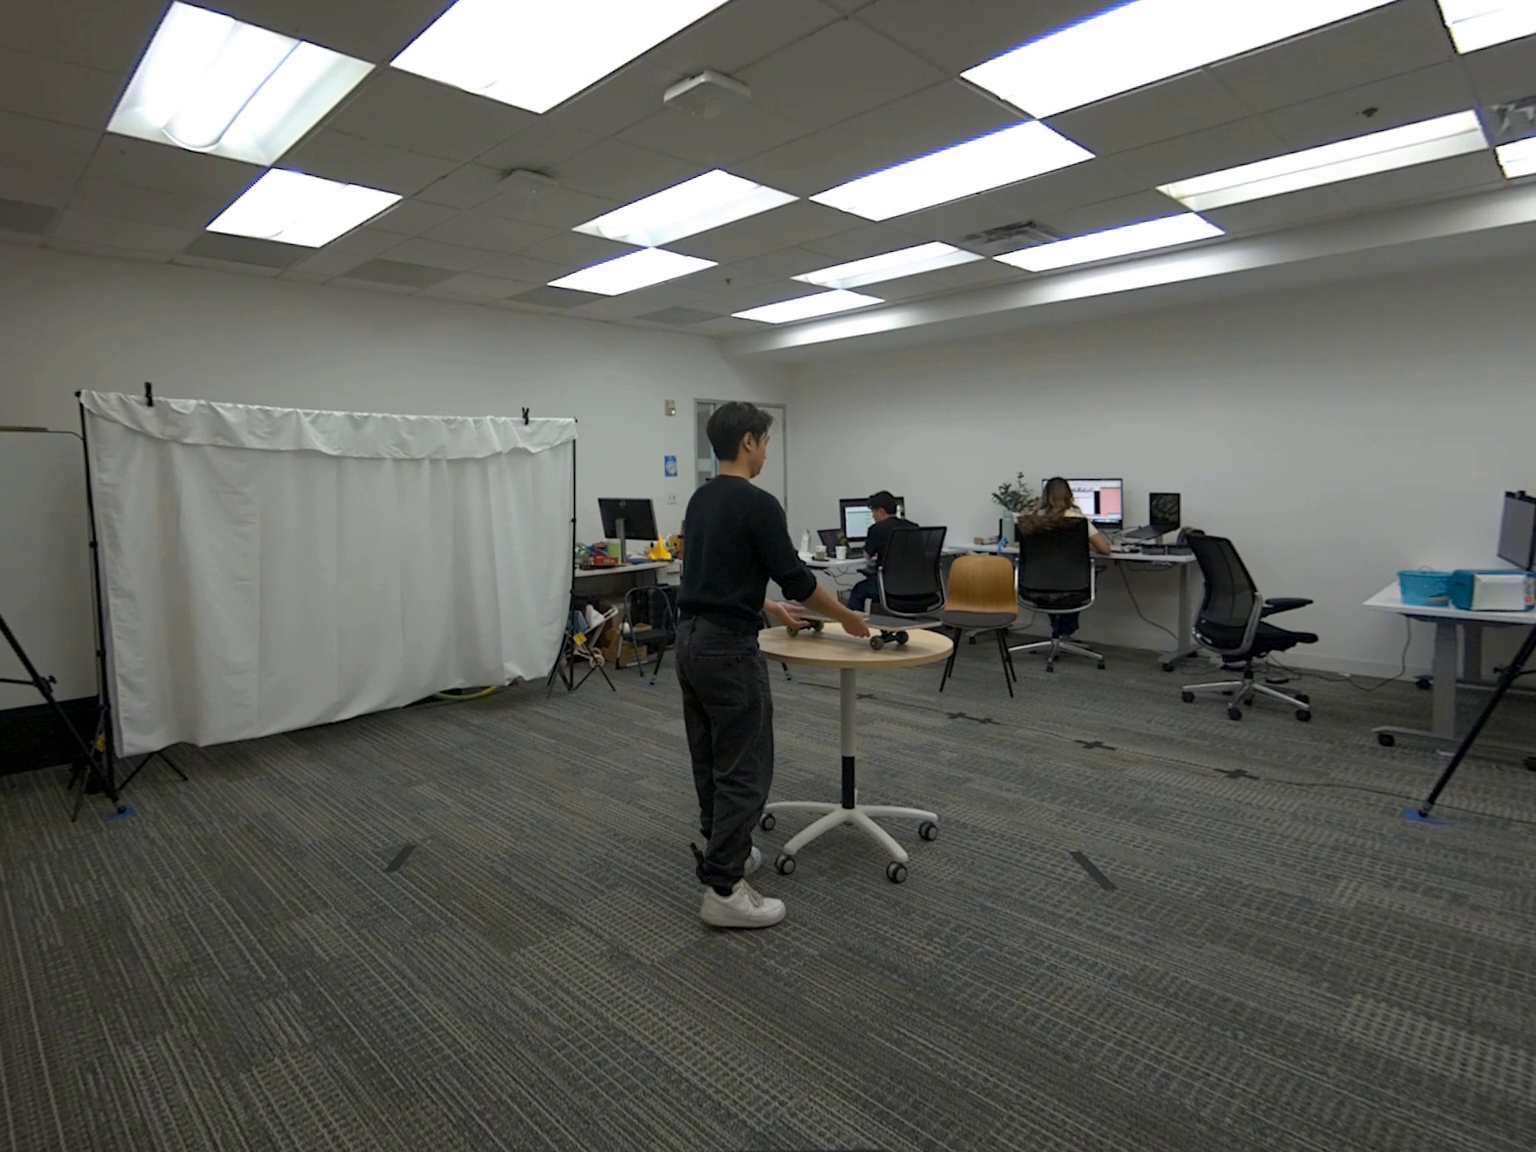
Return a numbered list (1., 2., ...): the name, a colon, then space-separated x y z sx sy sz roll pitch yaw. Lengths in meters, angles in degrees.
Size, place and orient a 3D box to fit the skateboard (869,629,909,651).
1. skateboard: 0.300 0.192 3.197 0.810 0.110 0.188 6 9 44
